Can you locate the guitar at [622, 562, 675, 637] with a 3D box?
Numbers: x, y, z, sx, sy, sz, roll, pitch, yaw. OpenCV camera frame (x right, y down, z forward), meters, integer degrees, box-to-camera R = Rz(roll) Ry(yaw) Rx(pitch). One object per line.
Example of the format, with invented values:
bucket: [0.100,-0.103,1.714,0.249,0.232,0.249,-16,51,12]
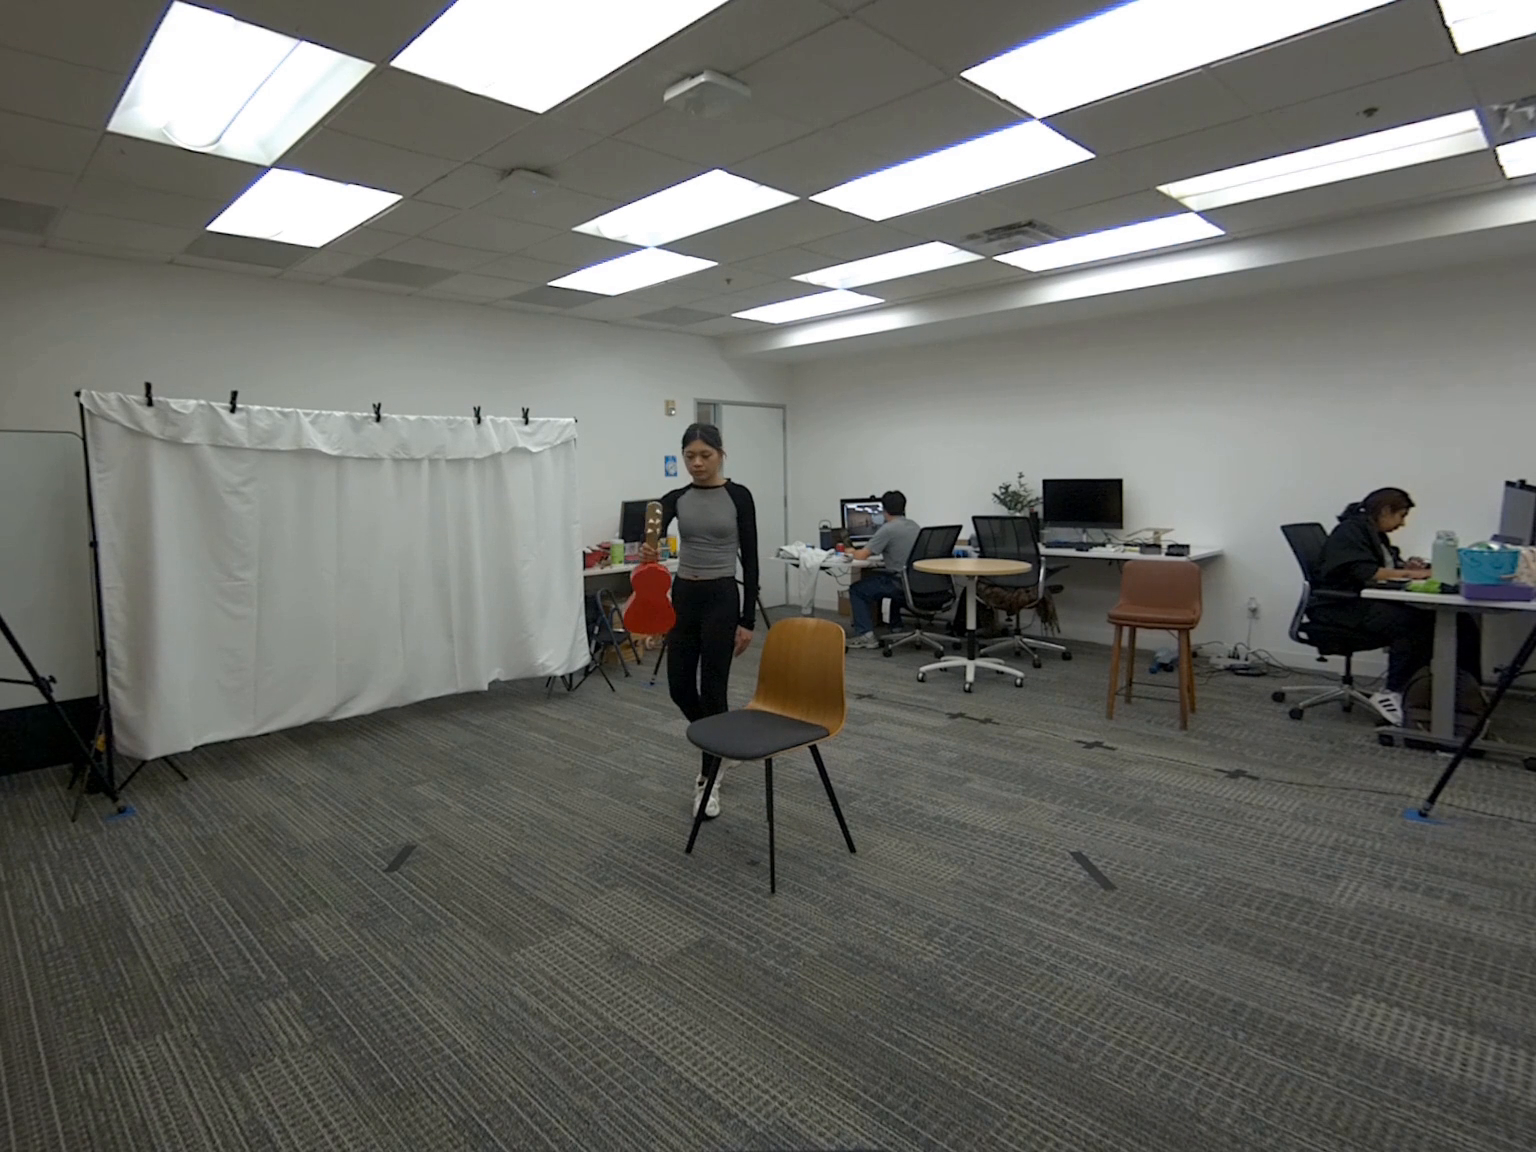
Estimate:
guitar: [-0.459,-0.020,3.151,0.192,0.488,0.072,-8,20,-8]
